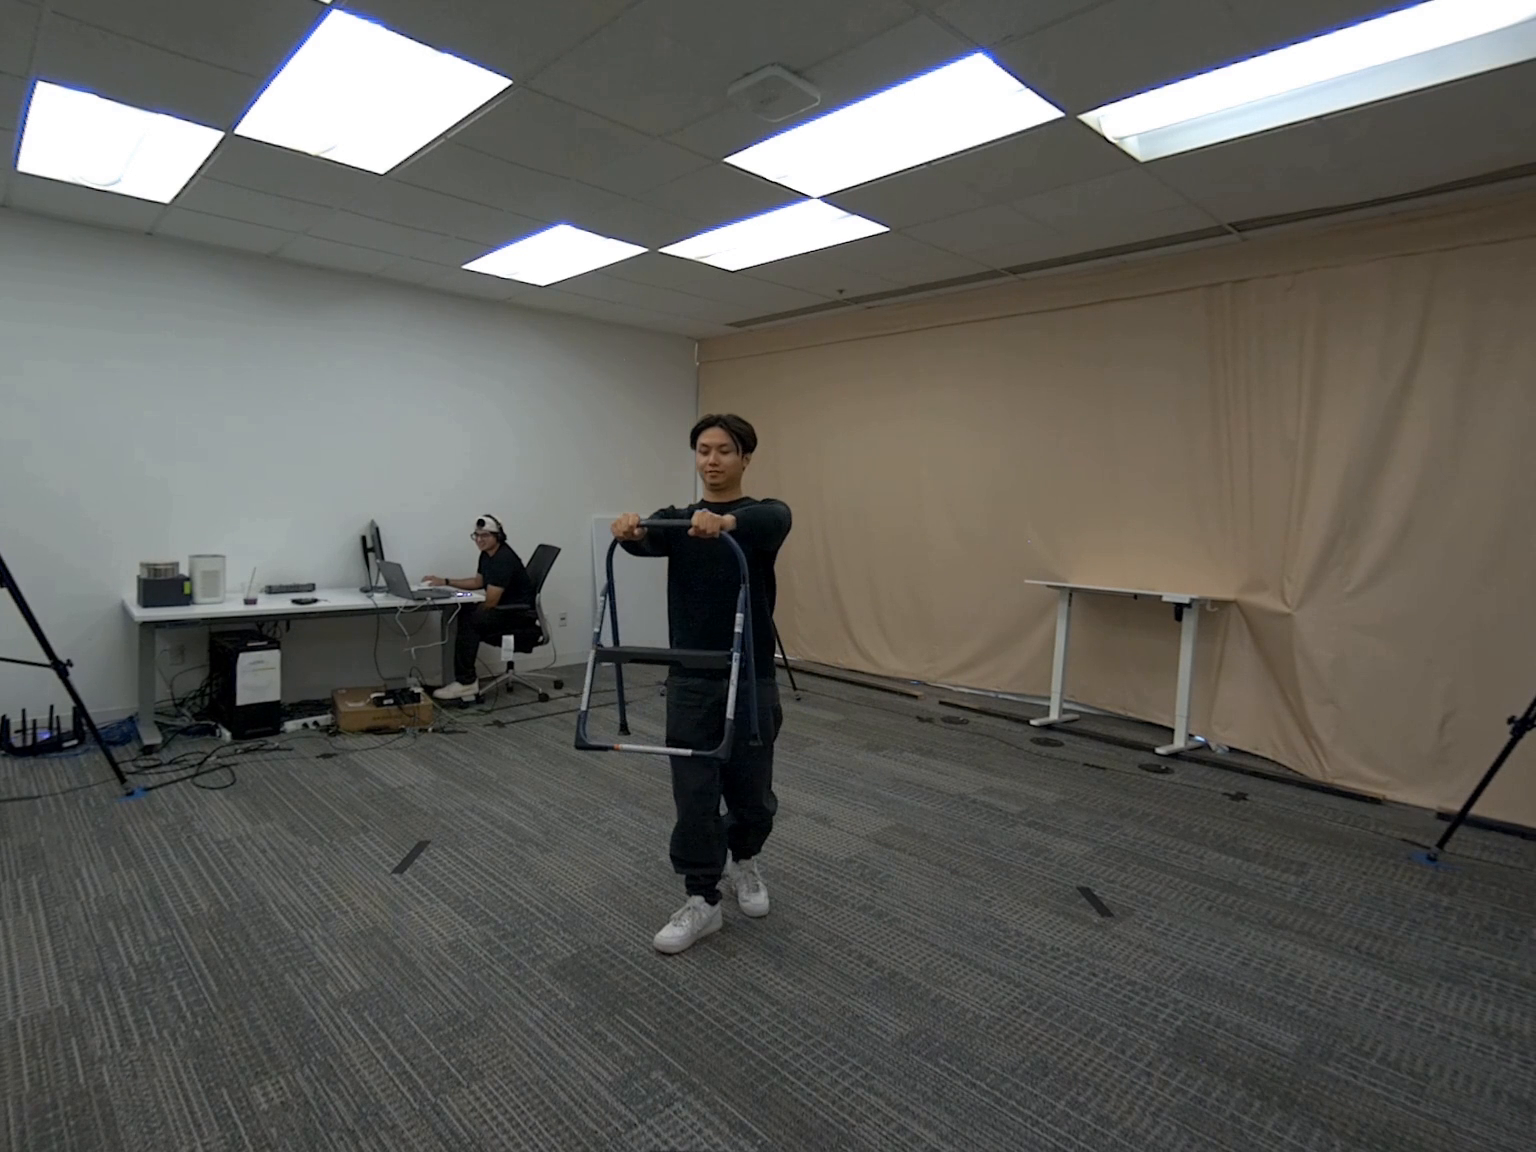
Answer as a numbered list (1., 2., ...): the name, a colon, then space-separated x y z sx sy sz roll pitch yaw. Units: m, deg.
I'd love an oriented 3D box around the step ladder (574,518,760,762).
1. step ladder: -0.263 0.166 2.287 0.436 0.608 0.344 2 -4 14
